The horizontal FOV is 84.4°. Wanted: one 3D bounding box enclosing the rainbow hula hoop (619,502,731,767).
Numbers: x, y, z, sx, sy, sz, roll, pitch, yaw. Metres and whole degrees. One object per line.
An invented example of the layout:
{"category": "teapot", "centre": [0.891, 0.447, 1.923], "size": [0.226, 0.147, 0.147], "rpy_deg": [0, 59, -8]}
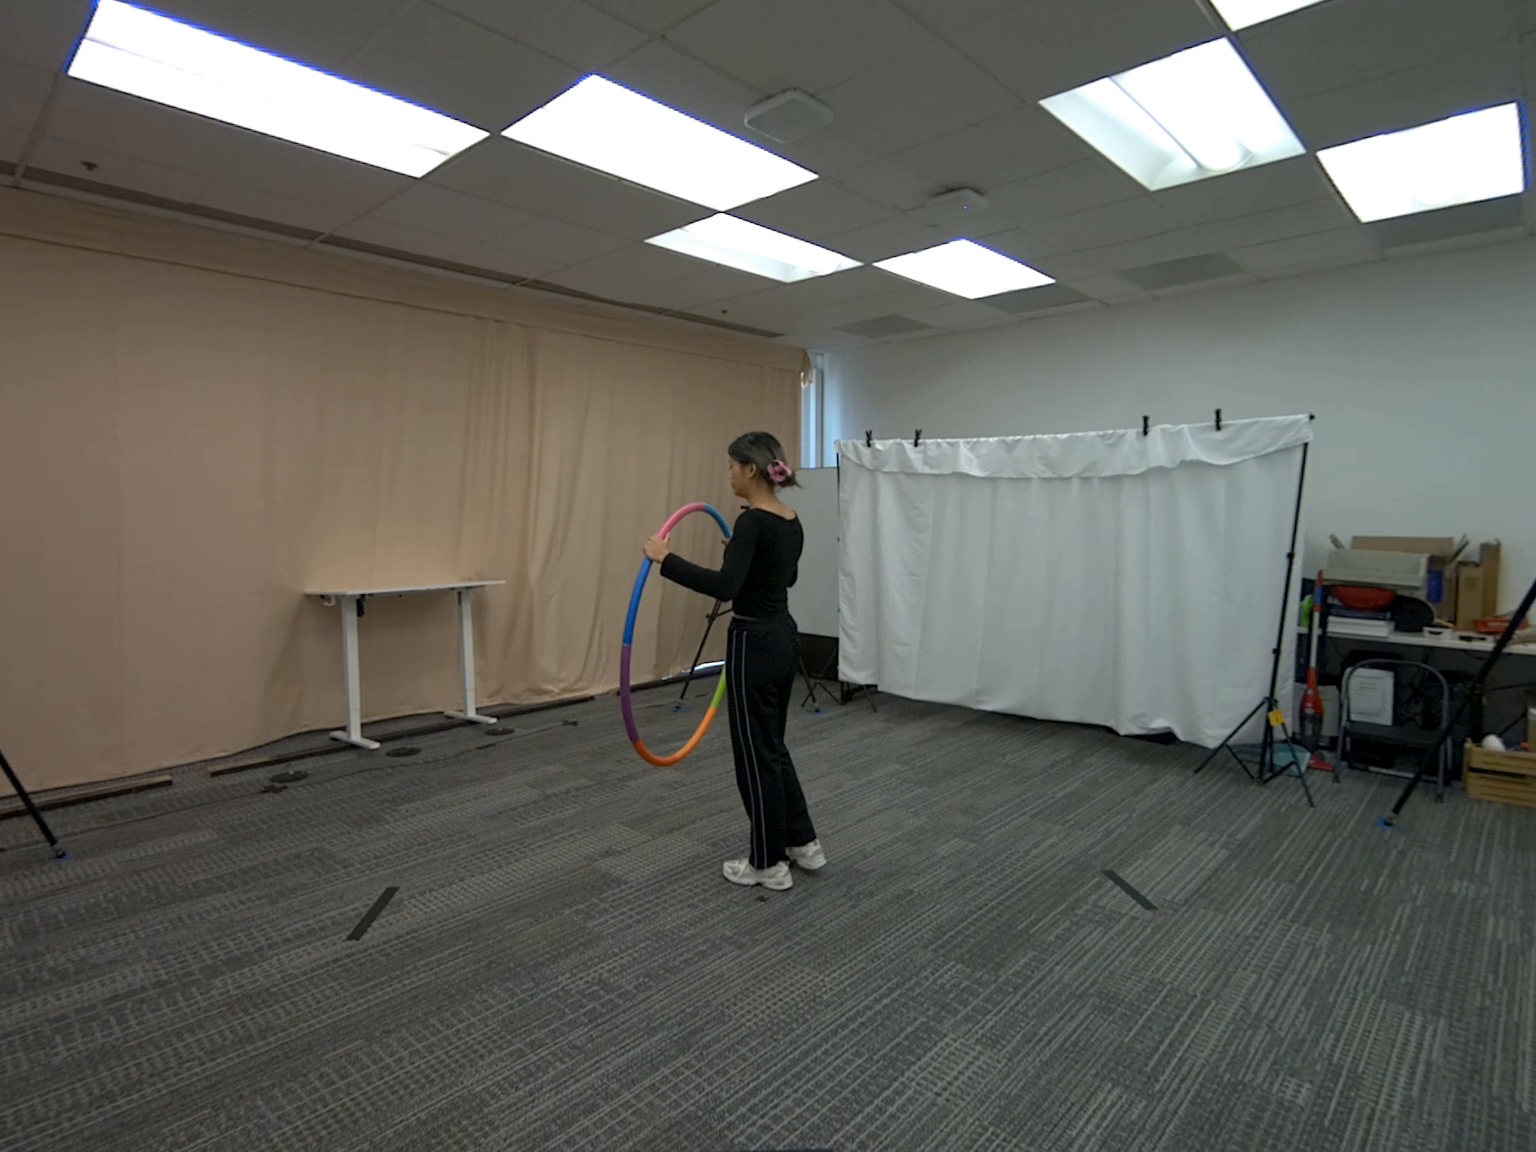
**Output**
{"category": "rainbow hula hoop", "centre": [-0.300, 0.219, 3.191], "size": [0.036, 0.976, 0.957], "rpy_deg": [5, 5, 22]}
